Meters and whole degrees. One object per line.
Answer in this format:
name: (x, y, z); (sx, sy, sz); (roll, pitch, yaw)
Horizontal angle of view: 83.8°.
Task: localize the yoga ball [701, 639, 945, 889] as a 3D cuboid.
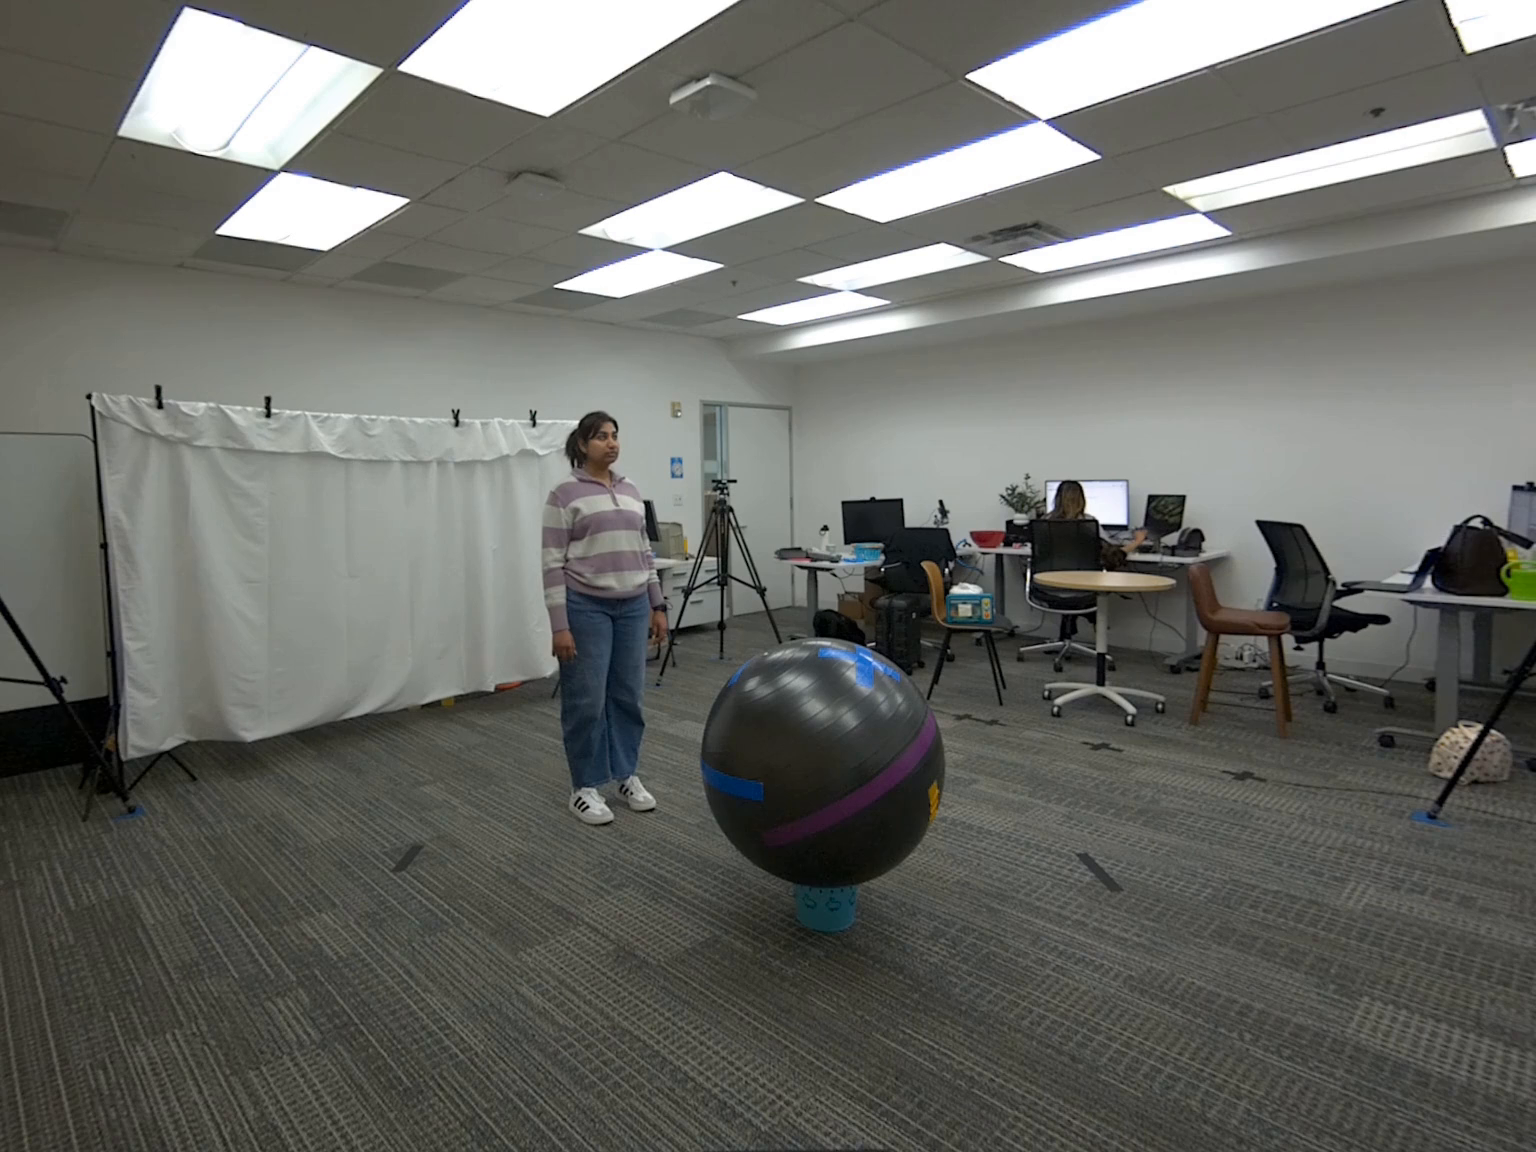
yoga ball: (0.170, 0.584, 2.686); (0.757, 0.755, 0.762); (-1, 5, -2)
